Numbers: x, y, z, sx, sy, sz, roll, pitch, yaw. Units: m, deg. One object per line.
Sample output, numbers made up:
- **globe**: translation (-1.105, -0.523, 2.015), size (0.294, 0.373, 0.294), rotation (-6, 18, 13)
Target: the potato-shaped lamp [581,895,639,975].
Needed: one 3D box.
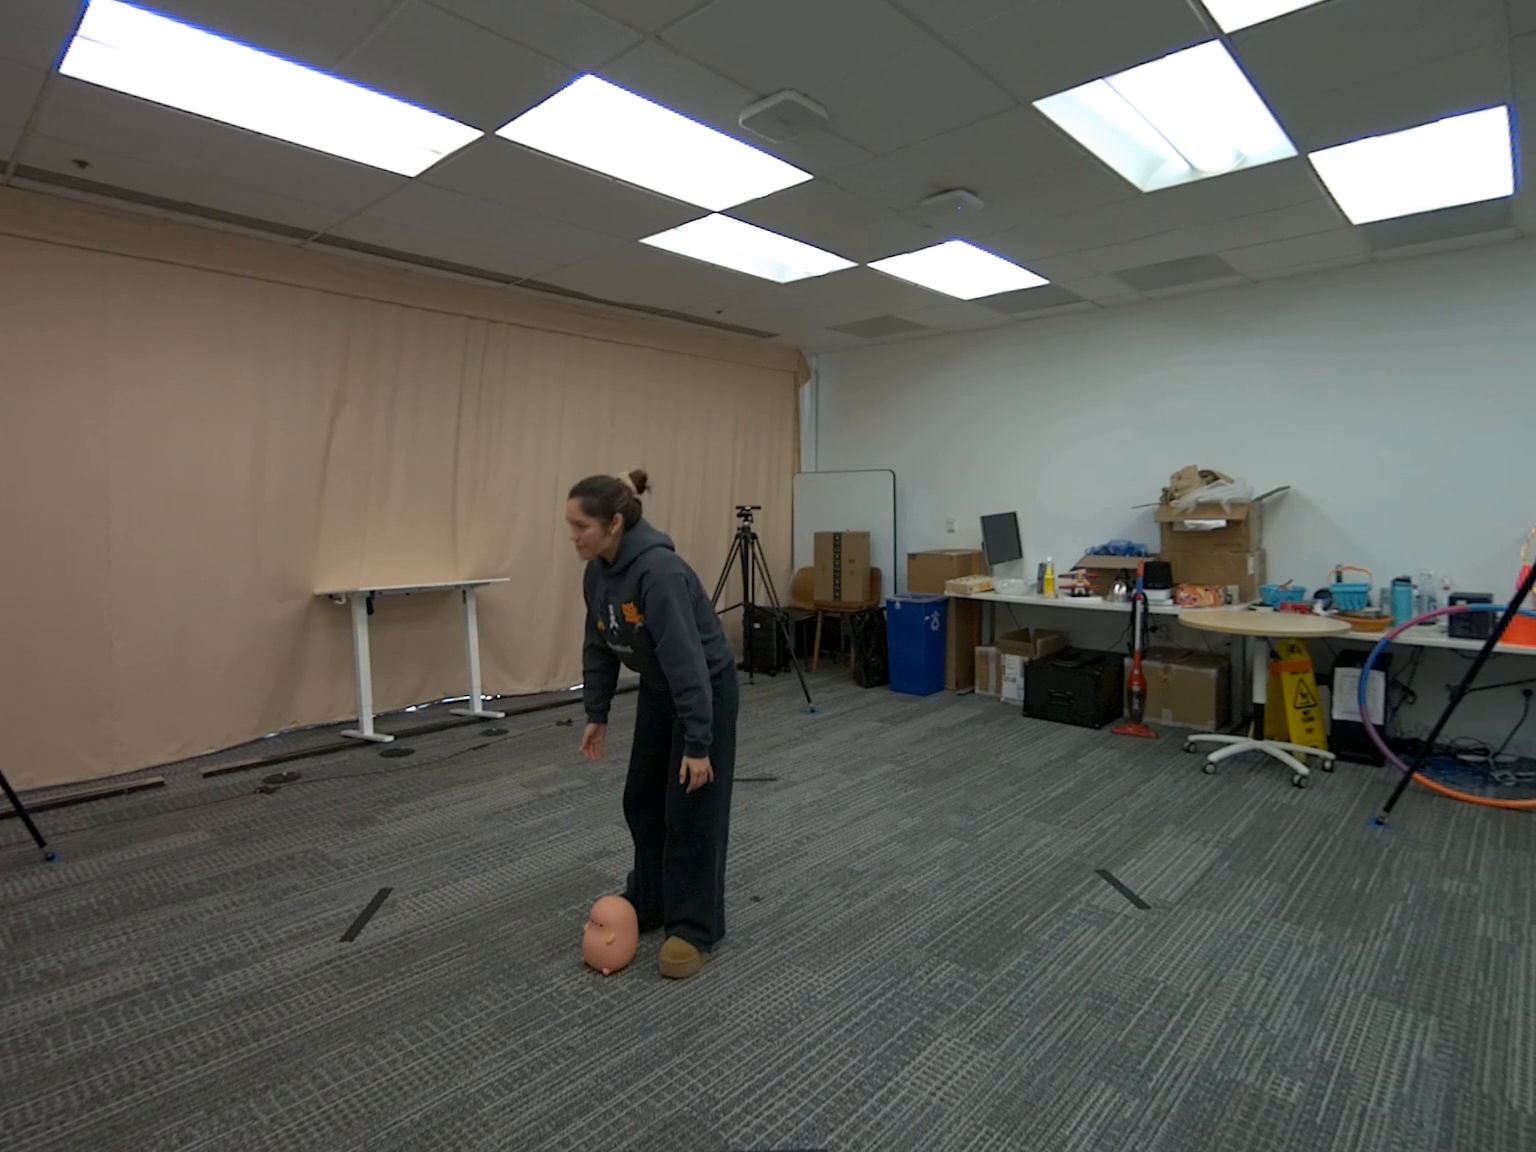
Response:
- **potato-shaped lamp**: translation (-0.463, 1.088, 2.568), size (0.170, 0.198, 0.166), rotation (2, 4, 44)
